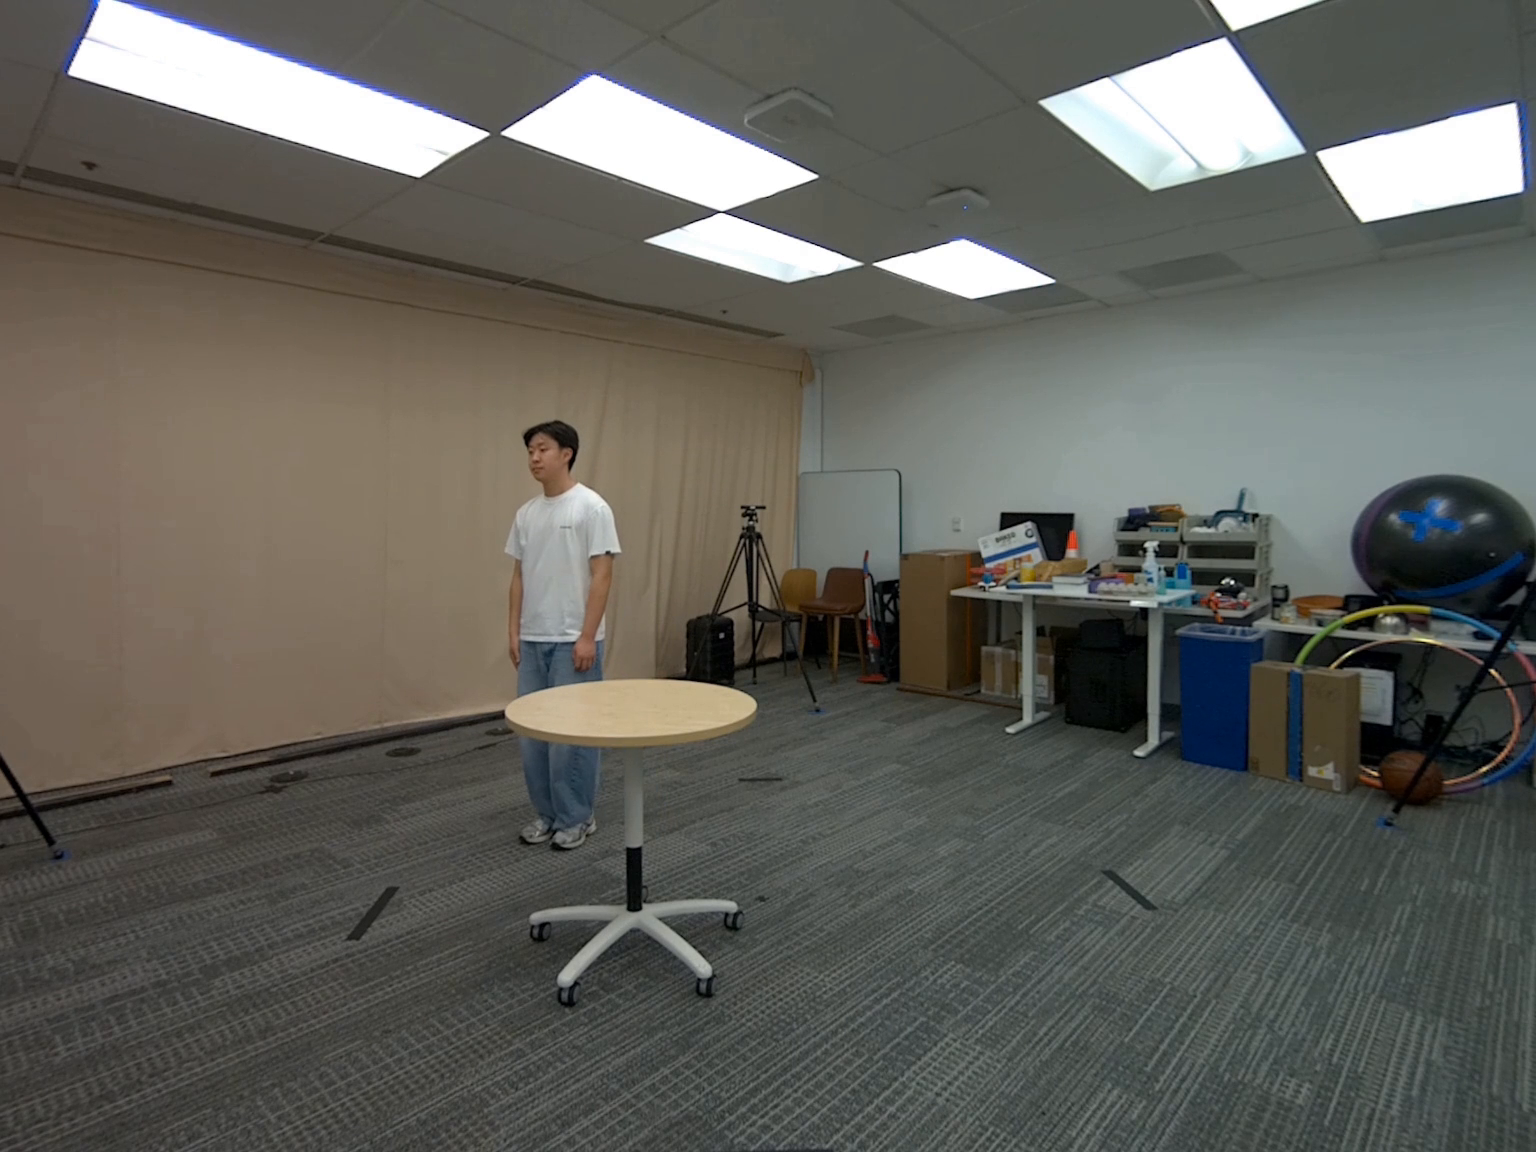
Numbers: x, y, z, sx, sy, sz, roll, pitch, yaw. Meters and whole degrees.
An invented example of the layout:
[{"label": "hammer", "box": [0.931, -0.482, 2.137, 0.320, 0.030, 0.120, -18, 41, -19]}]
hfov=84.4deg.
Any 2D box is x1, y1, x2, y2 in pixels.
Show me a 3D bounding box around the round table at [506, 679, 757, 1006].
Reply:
[{"label": "round table", "box": [-0.406, 0.790, 2.609, 0.763, 0.792, 0.766, 0, 4, -2]}]
